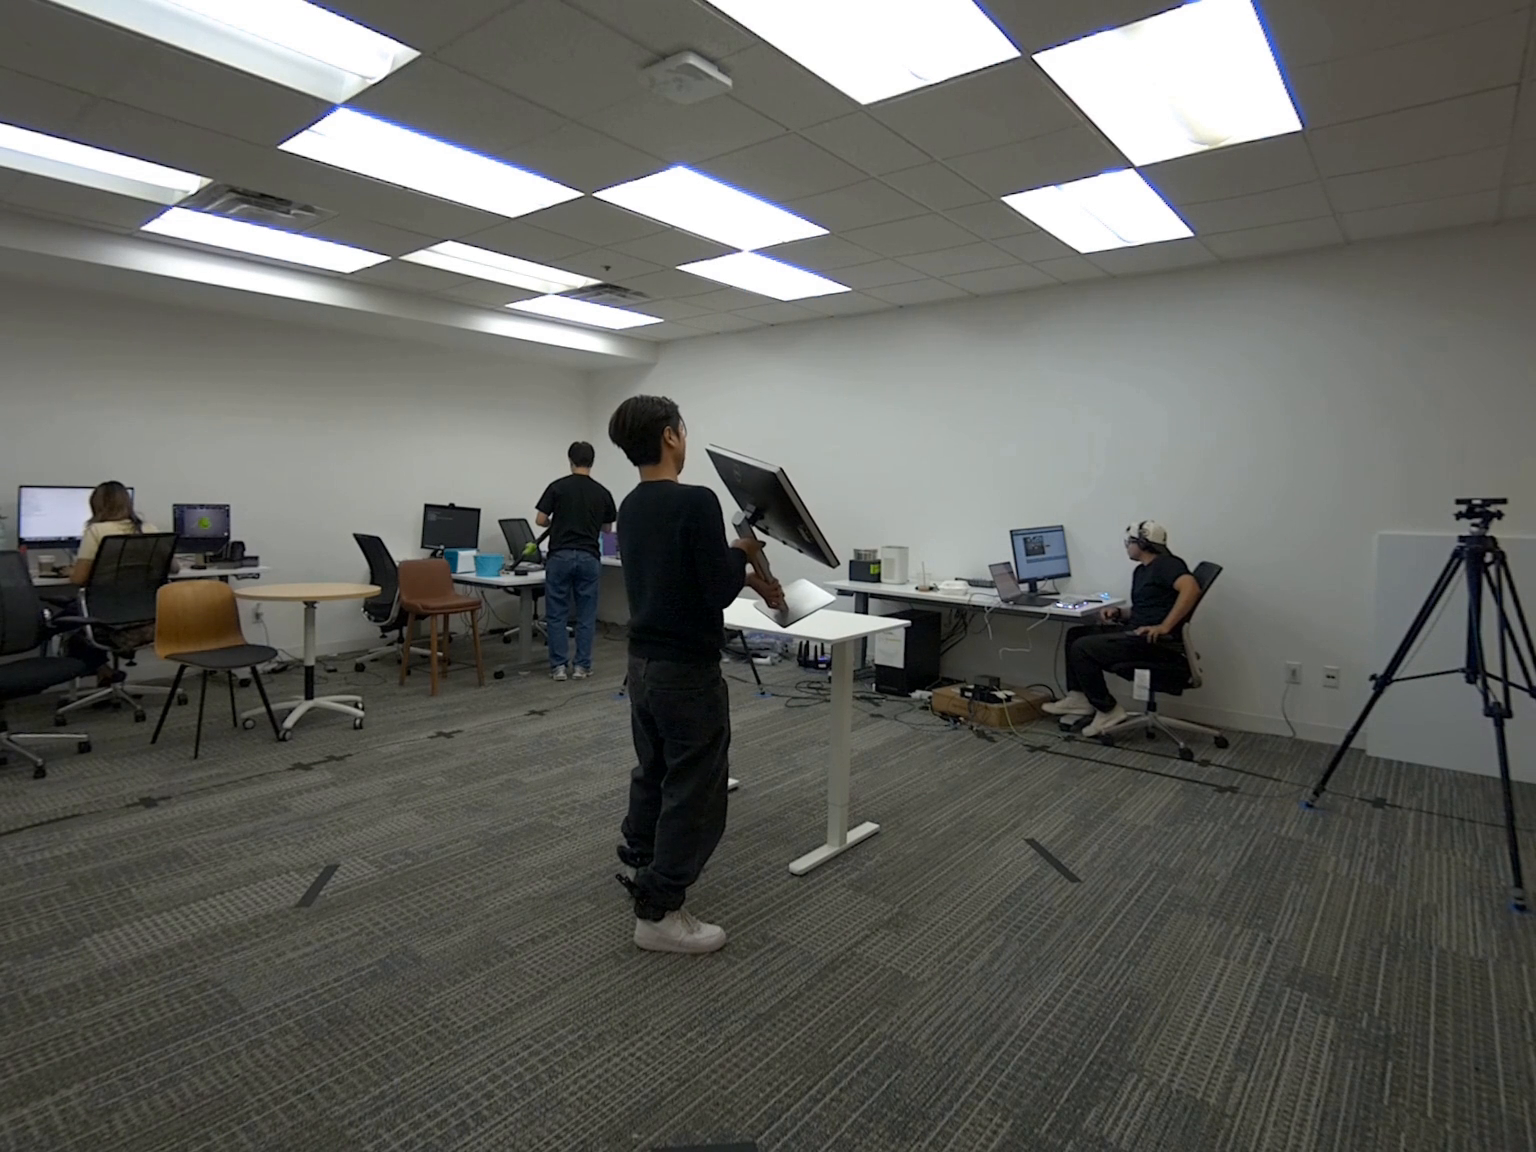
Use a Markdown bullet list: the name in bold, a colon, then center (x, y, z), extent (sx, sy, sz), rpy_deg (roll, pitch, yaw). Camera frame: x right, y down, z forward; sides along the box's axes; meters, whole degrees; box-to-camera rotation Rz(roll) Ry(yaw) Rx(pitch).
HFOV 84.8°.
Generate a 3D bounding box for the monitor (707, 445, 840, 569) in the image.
- **monitor**: center (-0.011, -0.139, 2.710), extent (0.185, 0.510, 0.558), rpy_deg (-27, 23, -18)
